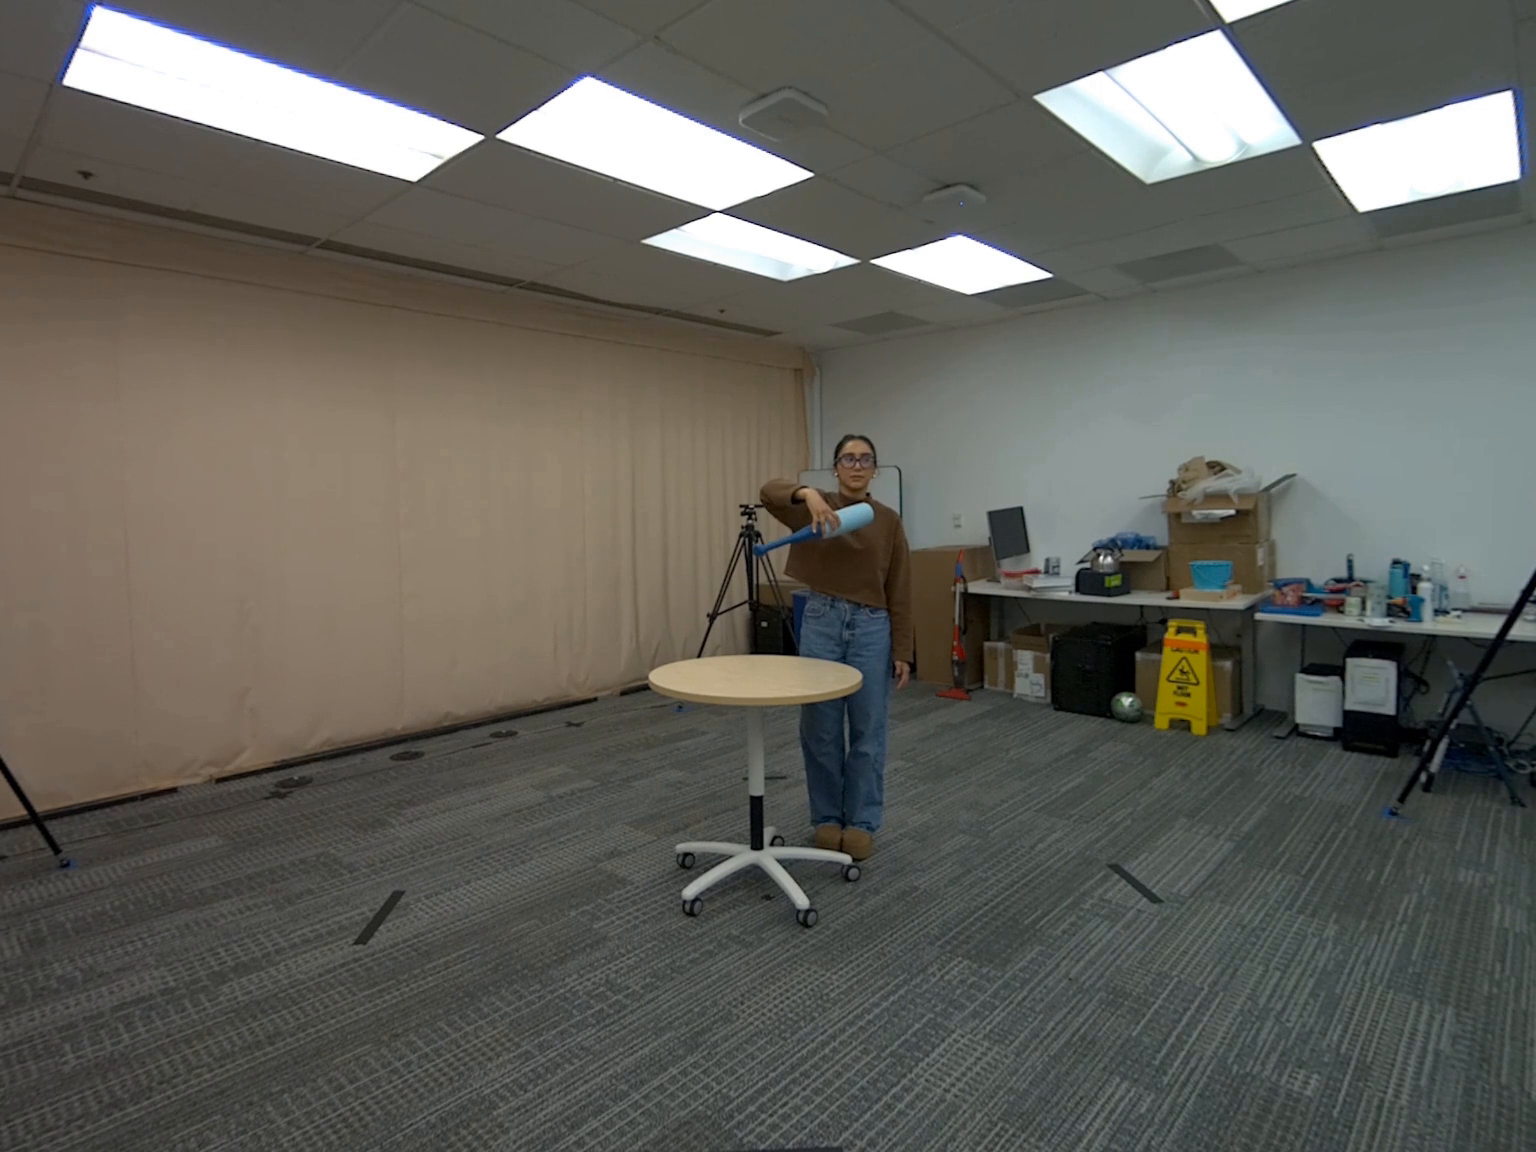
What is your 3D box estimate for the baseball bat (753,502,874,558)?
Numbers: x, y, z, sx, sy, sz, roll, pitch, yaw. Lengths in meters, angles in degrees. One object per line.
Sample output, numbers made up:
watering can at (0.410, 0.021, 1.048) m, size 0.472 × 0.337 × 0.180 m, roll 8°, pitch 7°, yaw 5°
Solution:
baseball bat at (0.174, -0.155, 3.033) m, size 0.532 × 0.088 × 0.092 m, roll -21°, pitch 14°, yaw -31°
